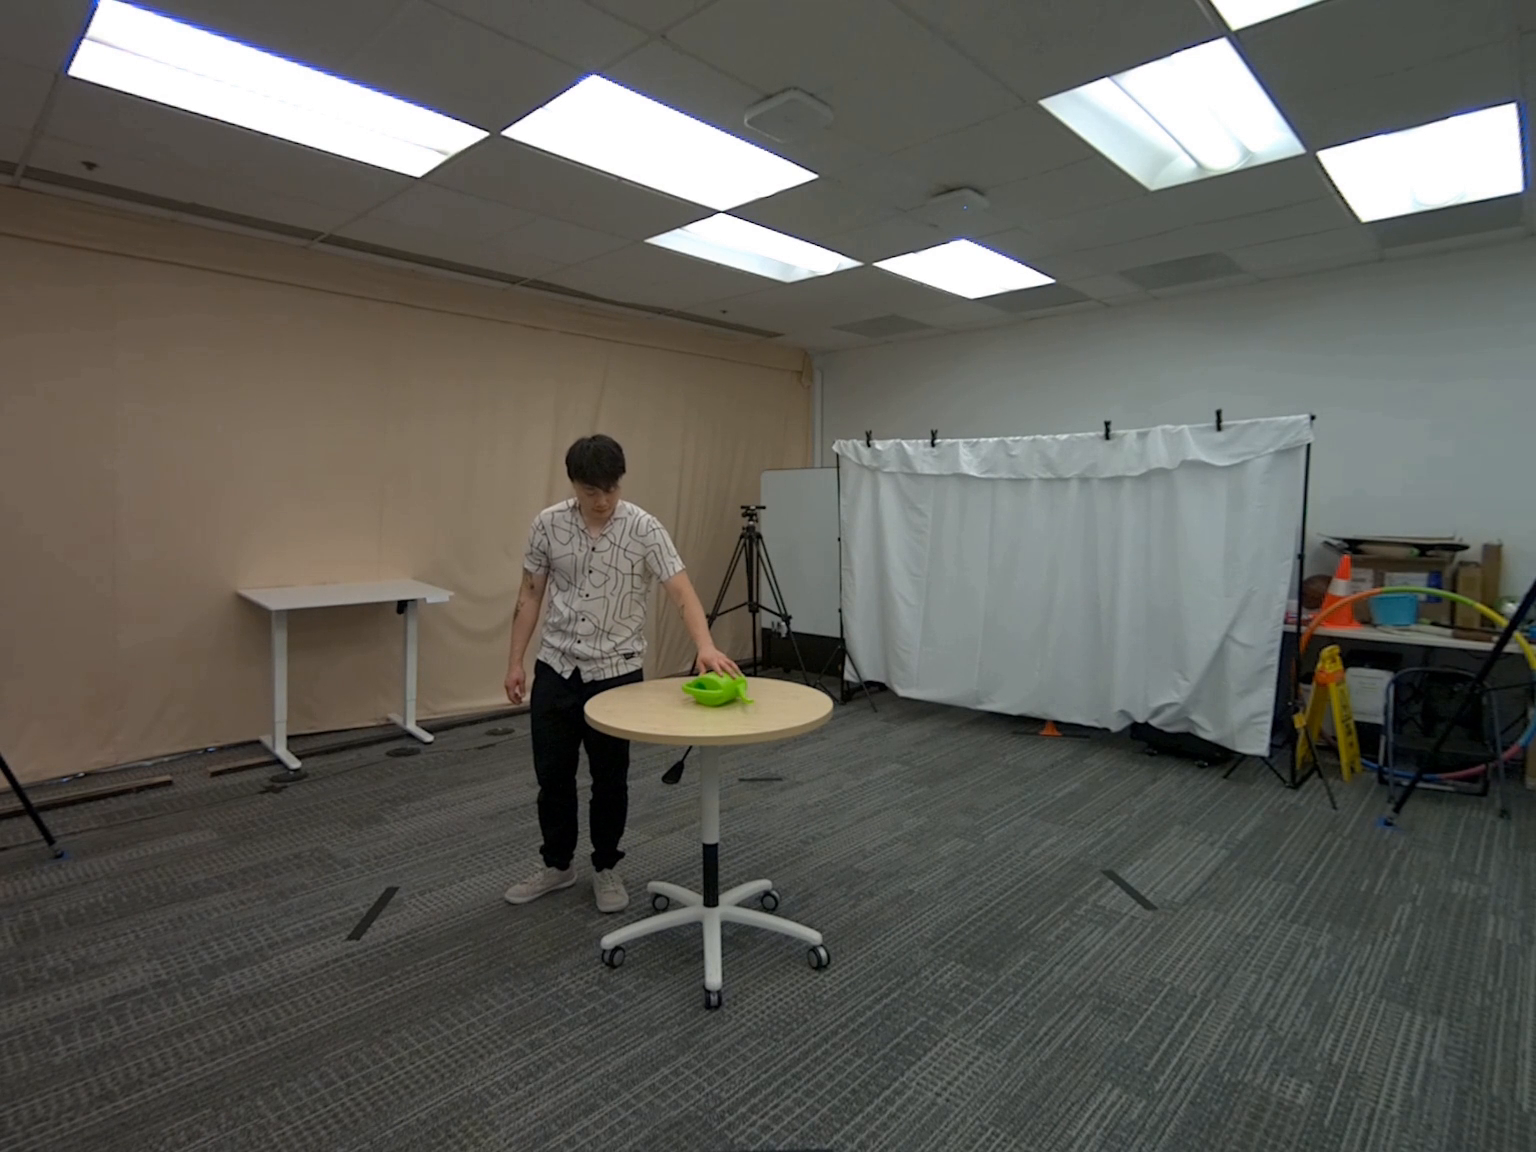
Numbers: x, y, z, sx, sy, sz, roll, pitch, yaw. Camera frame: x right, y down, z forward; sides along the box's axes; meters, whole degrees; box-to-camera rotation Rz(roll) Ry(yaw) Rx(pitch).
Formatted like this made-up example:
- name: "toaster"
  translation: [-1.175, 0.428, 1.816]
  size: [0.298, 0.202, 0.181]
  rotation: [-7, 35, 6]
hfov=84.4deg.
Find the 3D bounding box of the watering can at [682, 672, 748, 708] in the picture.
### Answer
- name: "watering can"
  translation: [-0.123, 0.360, 2.566]
  size: [0.287, 0.097, 0.172]
  rotation: [17, 13, 31]
